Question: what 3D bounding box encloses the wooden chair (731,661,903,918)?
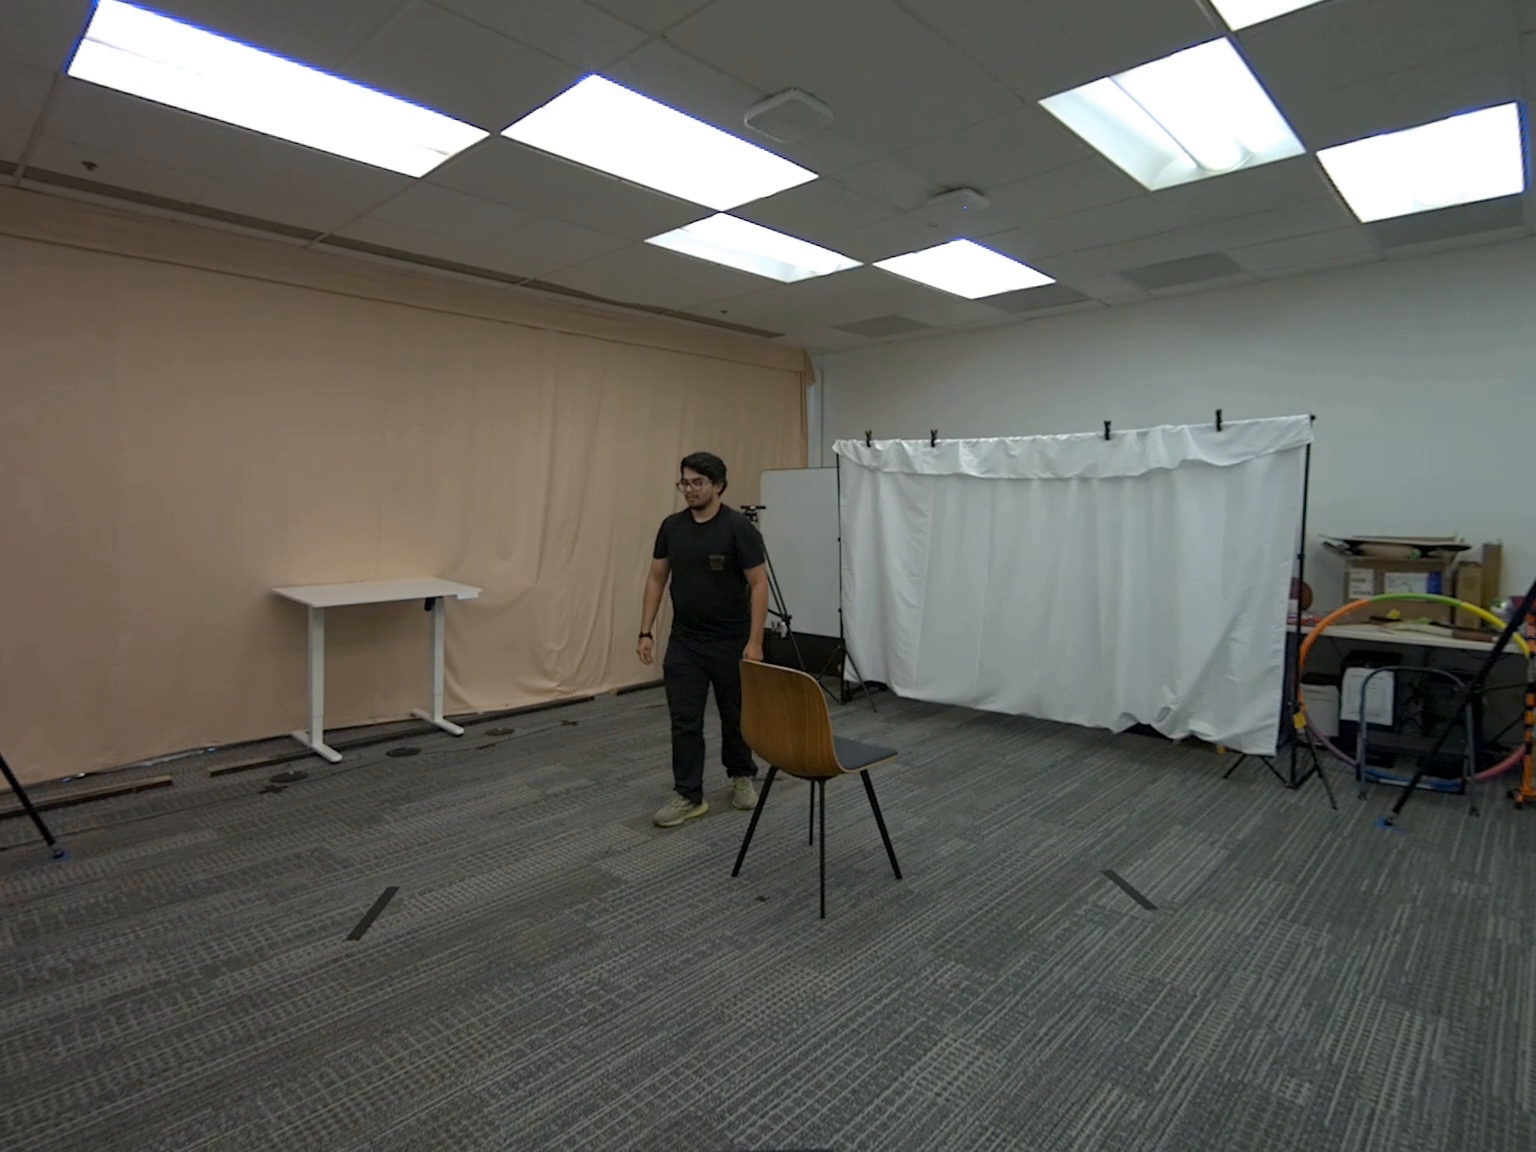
[{"bbox_3d":[0.191,0.704,3.127,0.508,0.874,0.494,-9,8,-43],"label":"wooden chair"}]
